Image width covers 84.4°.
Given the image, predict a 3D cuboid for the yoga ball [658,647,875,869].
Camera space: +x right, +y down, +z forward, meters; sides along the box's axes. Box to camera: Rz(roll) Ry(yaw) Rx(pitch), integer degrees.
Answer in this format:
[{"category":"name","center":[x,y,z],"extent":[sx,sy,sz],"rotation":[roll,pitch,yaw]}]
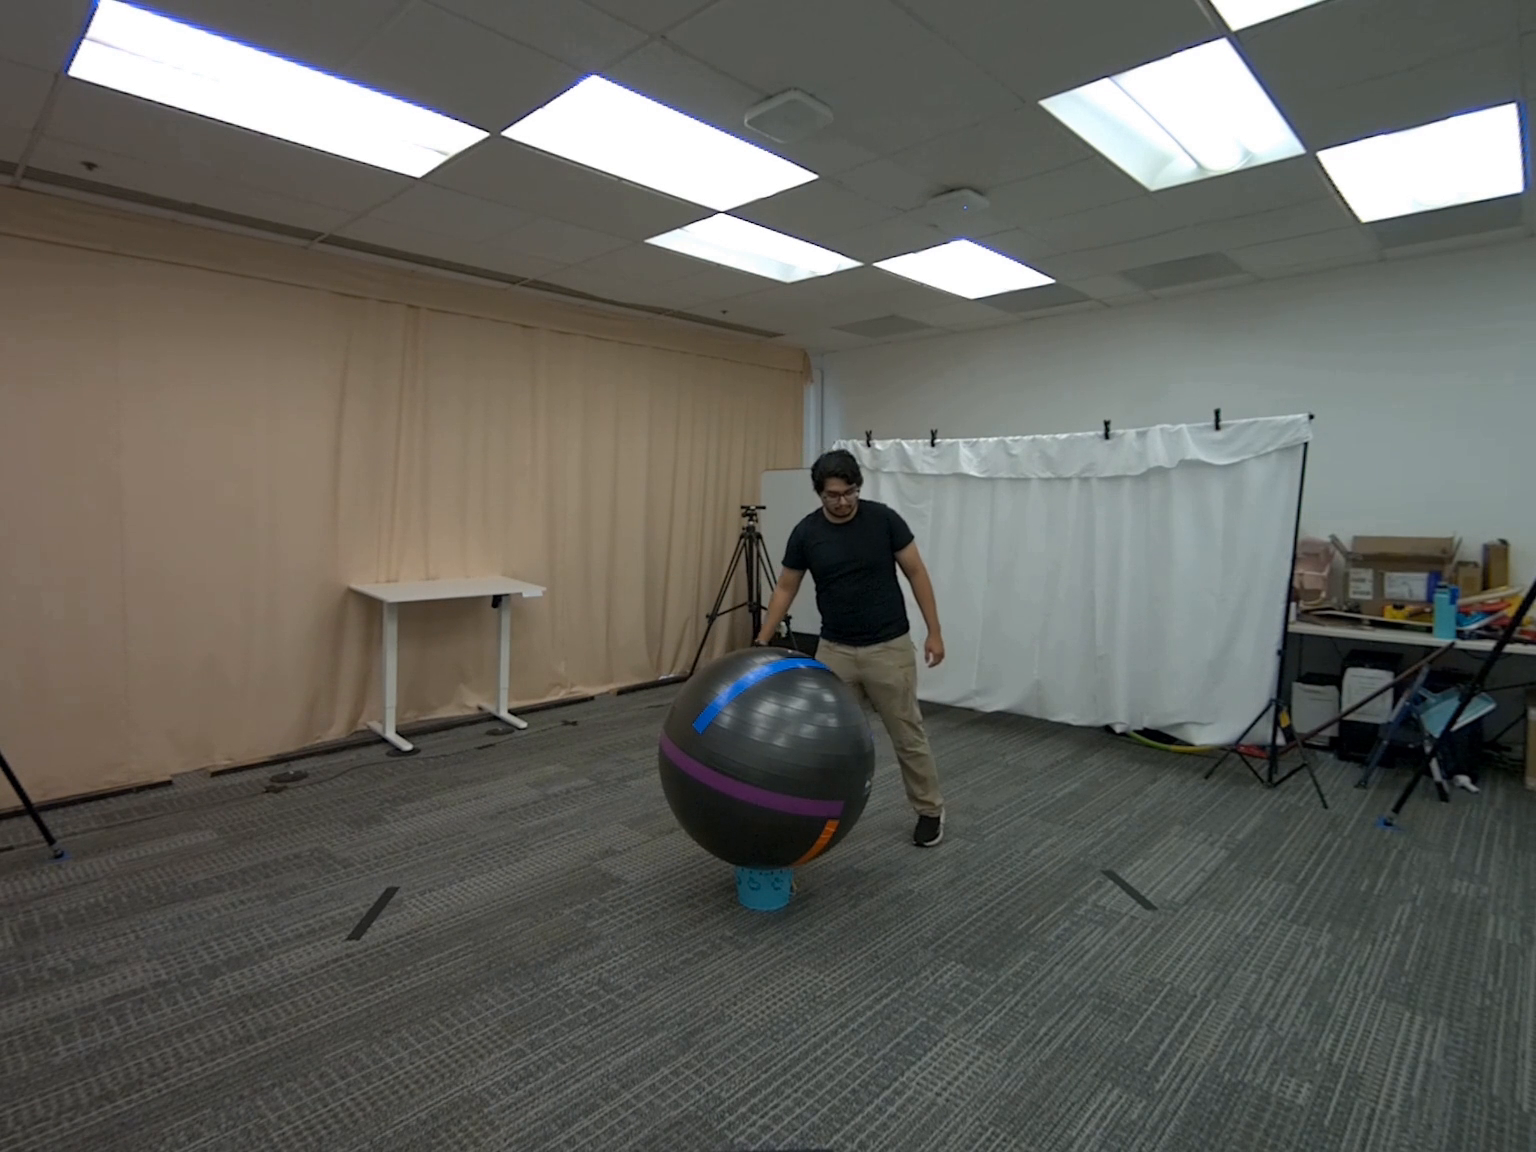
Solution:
[{"category":"yoga ball","center":[-0.003,0.640,2.958],"extent":[0.757,0.756,0.760],"rotation":[0,4,-2]}]
